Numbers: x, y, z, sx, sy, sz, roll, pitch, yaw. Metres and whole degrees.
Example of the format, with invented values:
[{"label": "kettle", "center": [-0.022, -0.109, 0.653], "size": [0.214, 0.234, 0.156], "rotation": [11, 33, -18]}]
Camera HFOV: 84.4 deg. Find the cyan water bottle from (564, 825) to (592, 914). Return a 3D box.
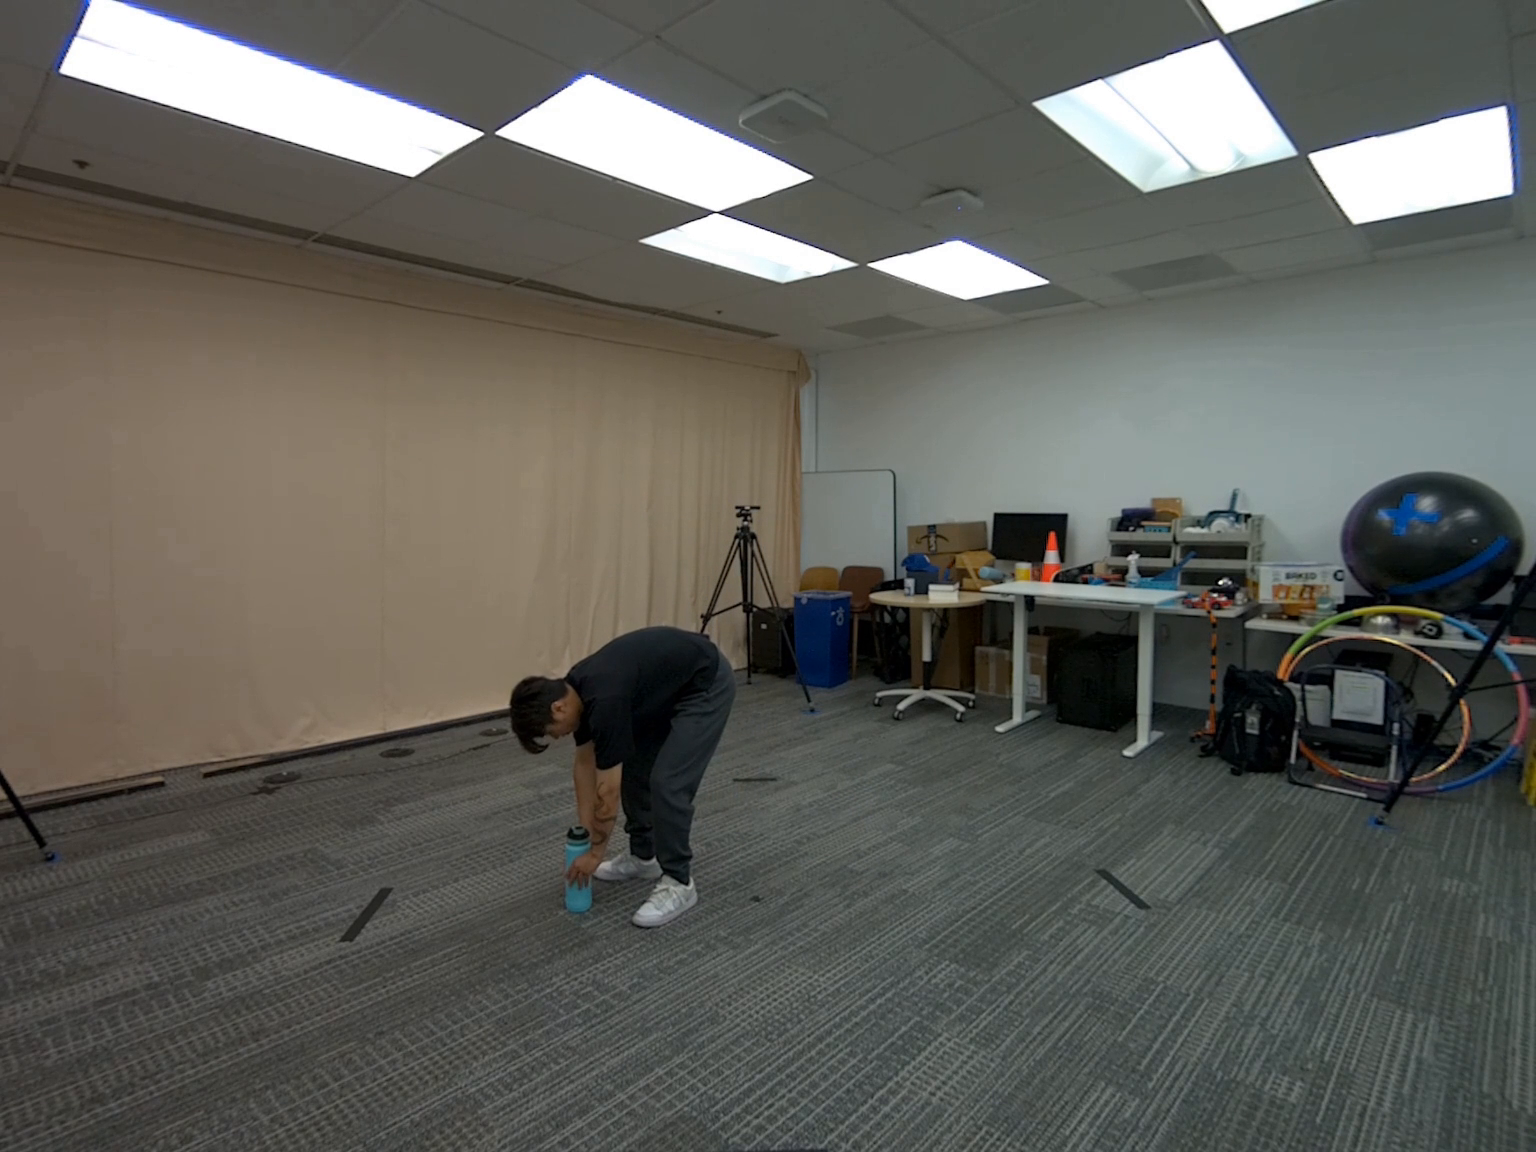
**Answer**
[{"label": "cyan water bottle", "center": [-0.657, 1.018, 2.934], "size": [0.092, 0.283, 0.092], "rotation": [-1, 2, -2]}]
